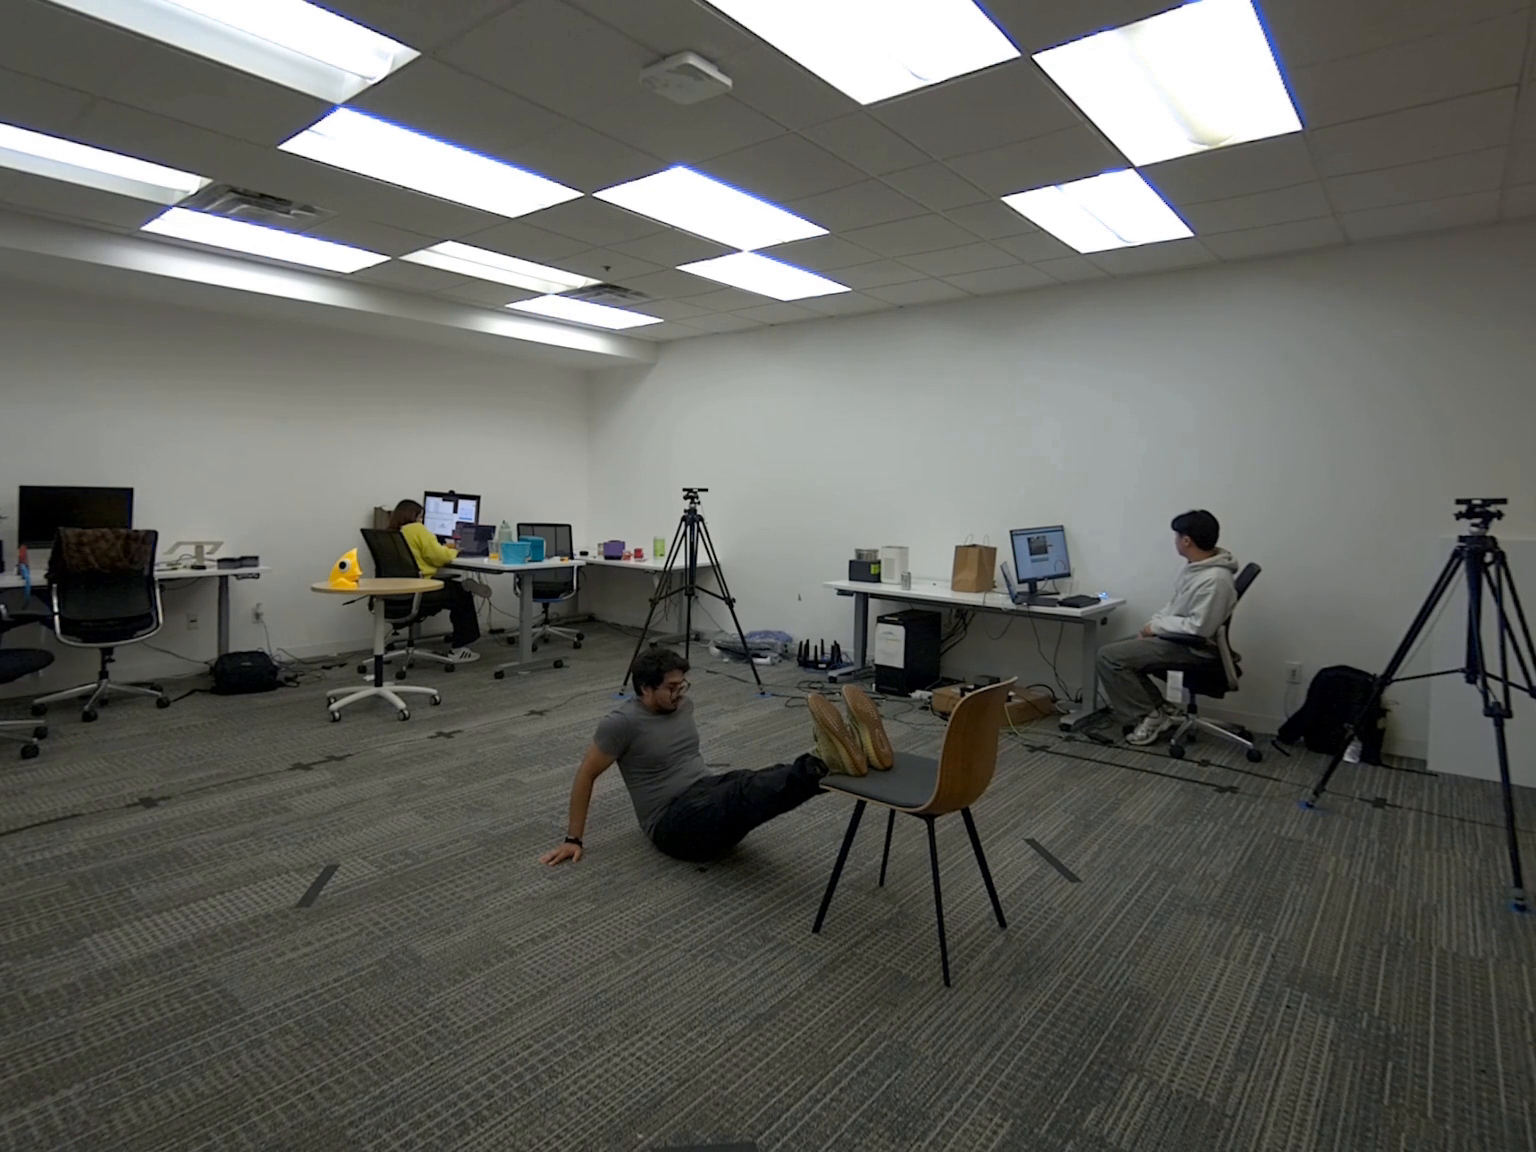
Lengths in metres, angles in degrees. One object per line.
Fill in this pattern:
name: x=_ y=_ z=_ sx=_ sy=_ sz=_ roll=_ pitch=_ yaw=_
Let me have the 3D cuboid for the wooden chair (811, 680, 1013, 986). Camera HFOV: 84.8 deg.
wooden chair: x=0.455 y=0.701 z=2.691 sx=0.541 sy=0.873 sz=0.464 roll=9 pitch=7 yaw=37
